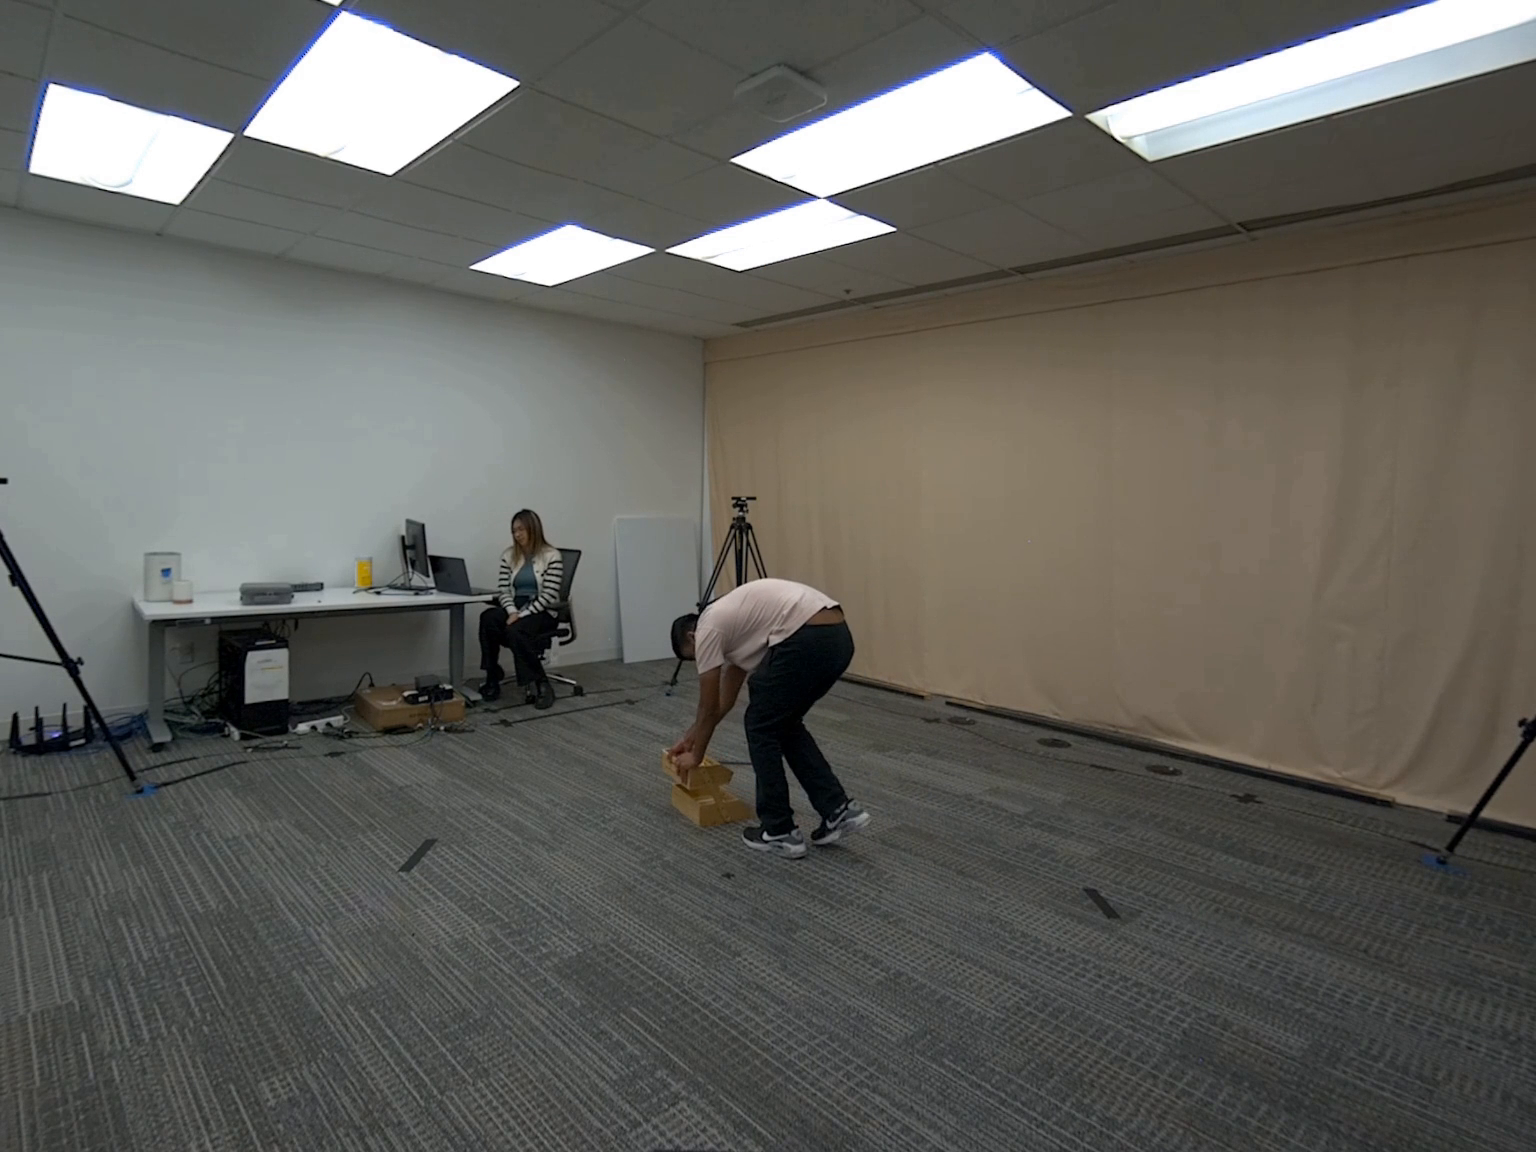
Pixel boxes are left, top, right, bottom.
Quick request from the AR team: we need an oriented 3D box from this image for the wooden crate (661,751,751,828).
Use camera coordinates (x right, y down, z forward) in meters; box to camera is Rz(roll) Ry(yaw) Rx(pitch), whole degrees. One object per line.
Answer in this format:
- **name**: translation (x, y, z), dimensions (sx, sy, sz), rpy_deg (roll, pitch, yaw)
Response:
- **wooden crate**: translation (-0.283, 0.915, 3.735), dimensions (0.296, 0.272, 0.332), rpy_deg (-2, 5, -29)
